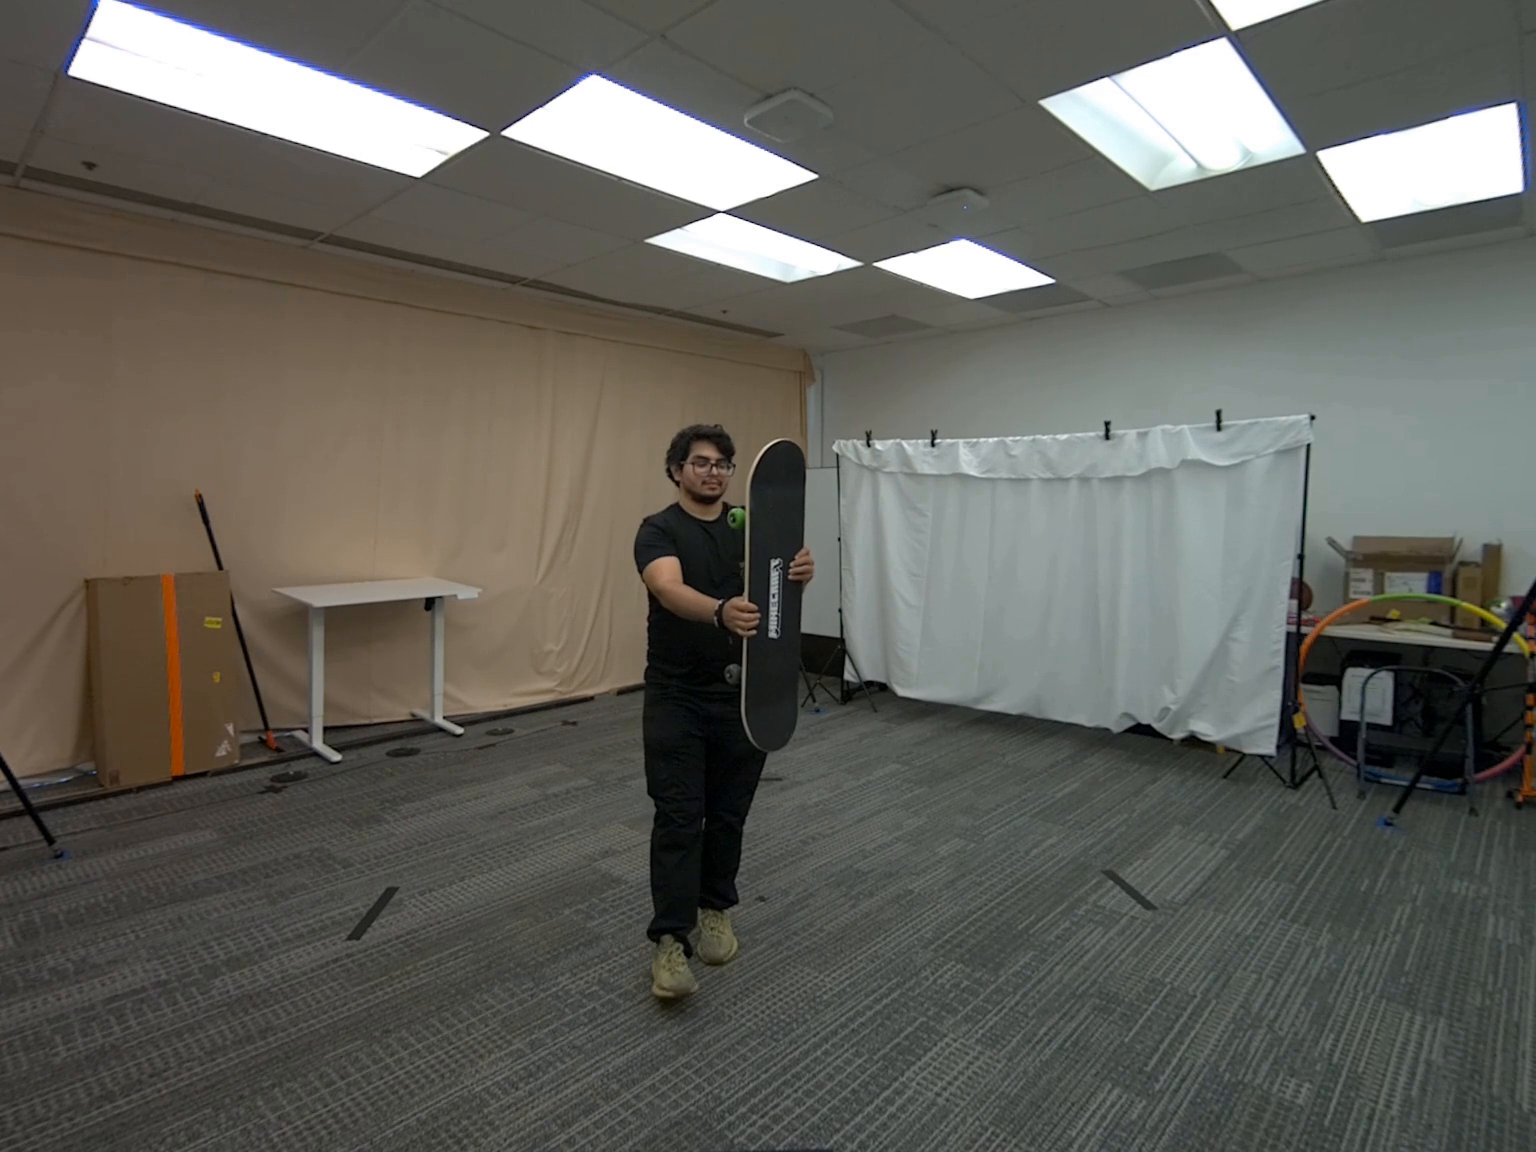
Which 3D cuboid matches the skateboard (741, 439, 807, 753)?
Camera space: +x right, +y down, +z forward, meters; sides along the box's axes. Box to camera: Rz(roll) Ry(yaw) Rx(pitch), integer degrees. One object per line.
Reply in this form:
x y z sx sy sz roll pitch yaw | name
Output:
-0.001 0.052 2.130 0.188 0.781 0.114 -7 12 -40 | skateboard
